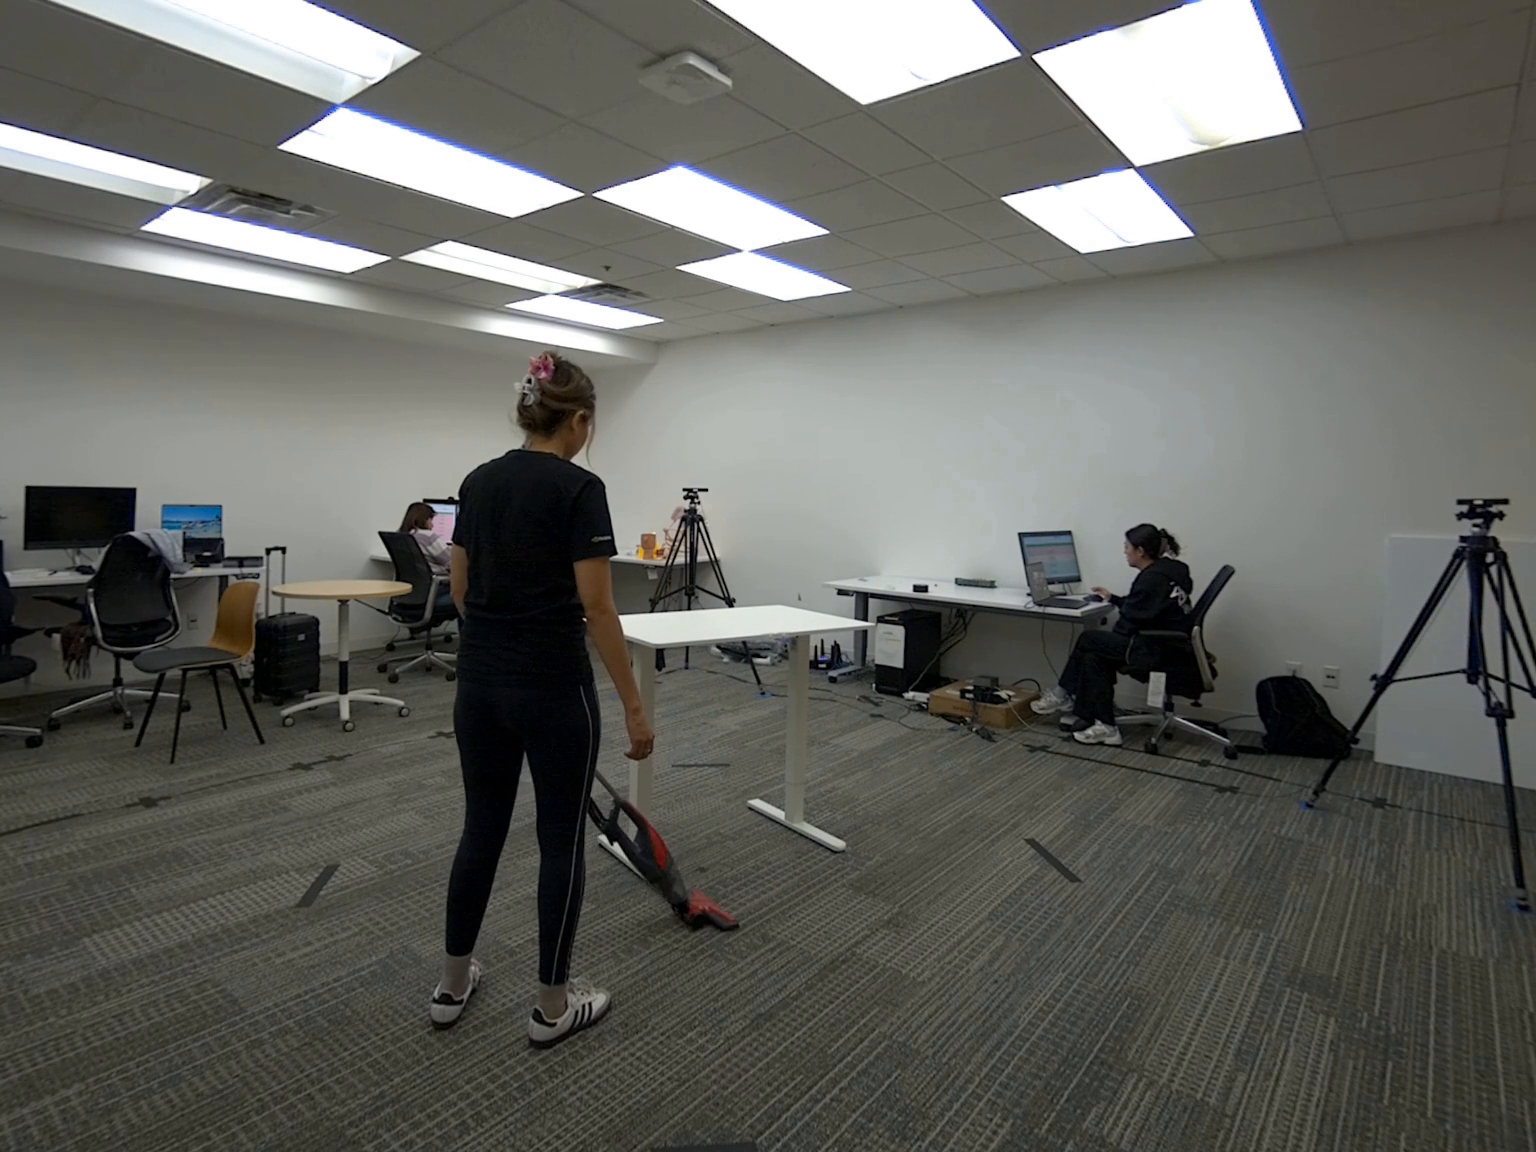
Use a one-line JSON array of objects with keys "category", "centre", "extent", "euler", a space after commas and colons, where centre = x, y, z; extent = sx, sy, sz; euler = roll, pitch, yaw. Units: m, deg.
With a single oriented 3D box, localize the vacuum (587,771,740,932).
[{"category": "vacuum", "centre": [-0.462, 0.712, 2.549], "extent": [0.144, 1.016, 0.261], "euler": [-46, 29, -24]}]
